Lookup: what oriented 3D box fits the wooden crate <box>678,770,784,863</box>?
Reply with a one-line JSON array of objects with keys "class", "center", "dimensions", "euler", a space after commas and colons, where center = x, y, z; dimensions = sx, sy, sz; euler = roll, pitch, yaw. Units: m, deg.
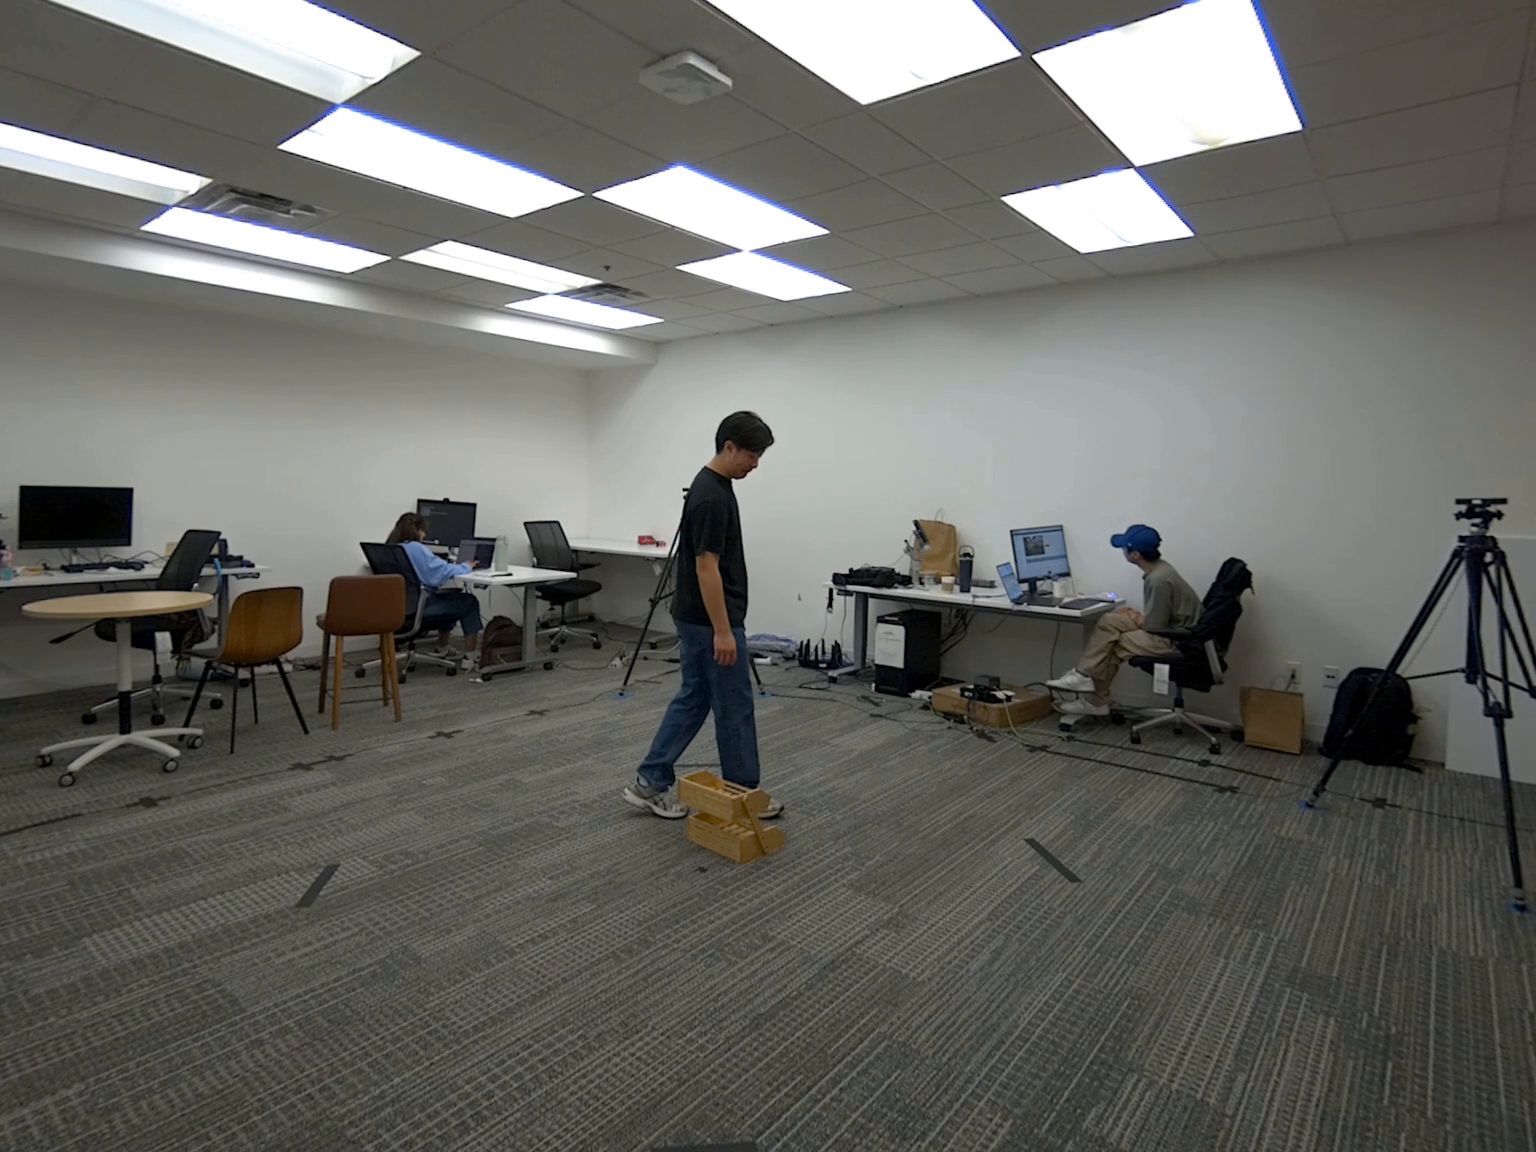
[{"class": "wooden crate", "center": [-0.153, 0.916, 3.334], "dimensions": [0.335, 0.272, 0.293], "euler": [5, 6, 42]}]
